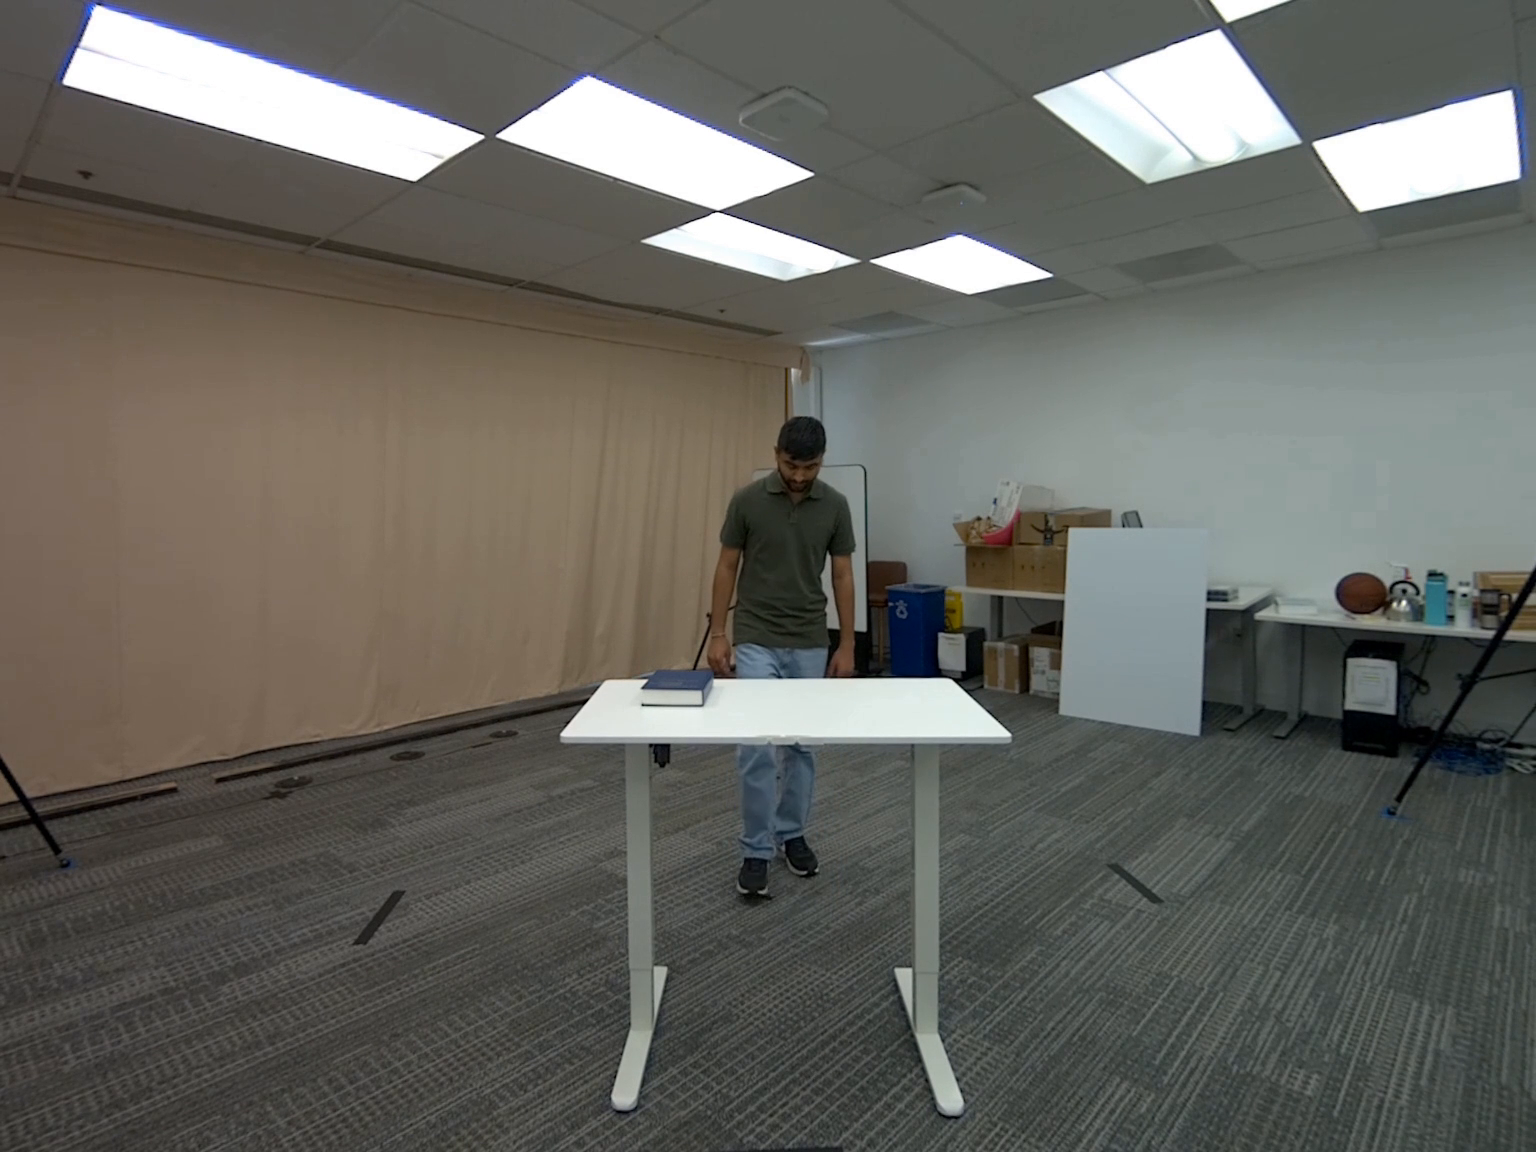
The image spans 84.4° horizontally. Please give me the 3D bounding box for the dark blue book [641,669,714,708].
[{"bbox_3d":[-0.230,0.302,2.259,0.164,0.045,0.244,0,5,4],"label":"dark blue book"}]
